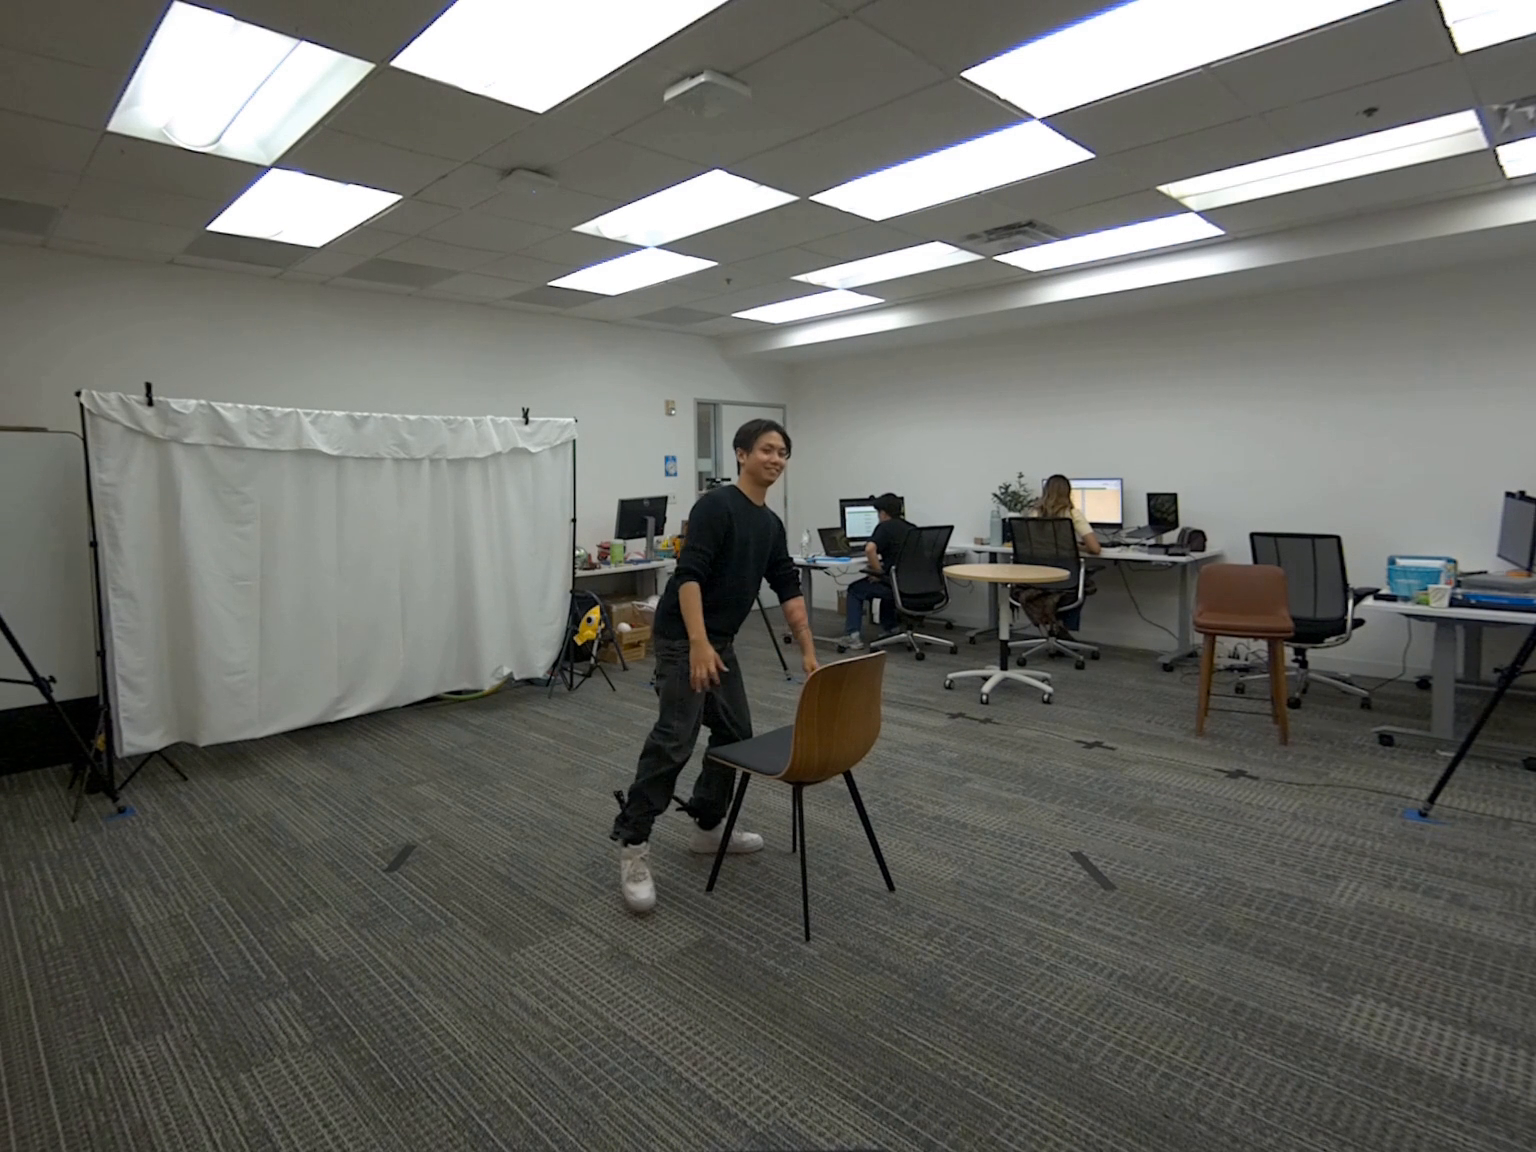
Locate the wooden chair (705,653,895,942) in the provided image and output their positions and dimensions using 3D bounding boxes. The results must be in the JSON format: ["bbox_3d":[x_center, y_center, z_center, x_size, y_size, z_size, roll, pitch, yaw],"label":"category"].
[{"bbox_3d":[0.091,0.638,2.857,0.540,0.871,0.466,9,11,44],"label":"wooden chair"}]
